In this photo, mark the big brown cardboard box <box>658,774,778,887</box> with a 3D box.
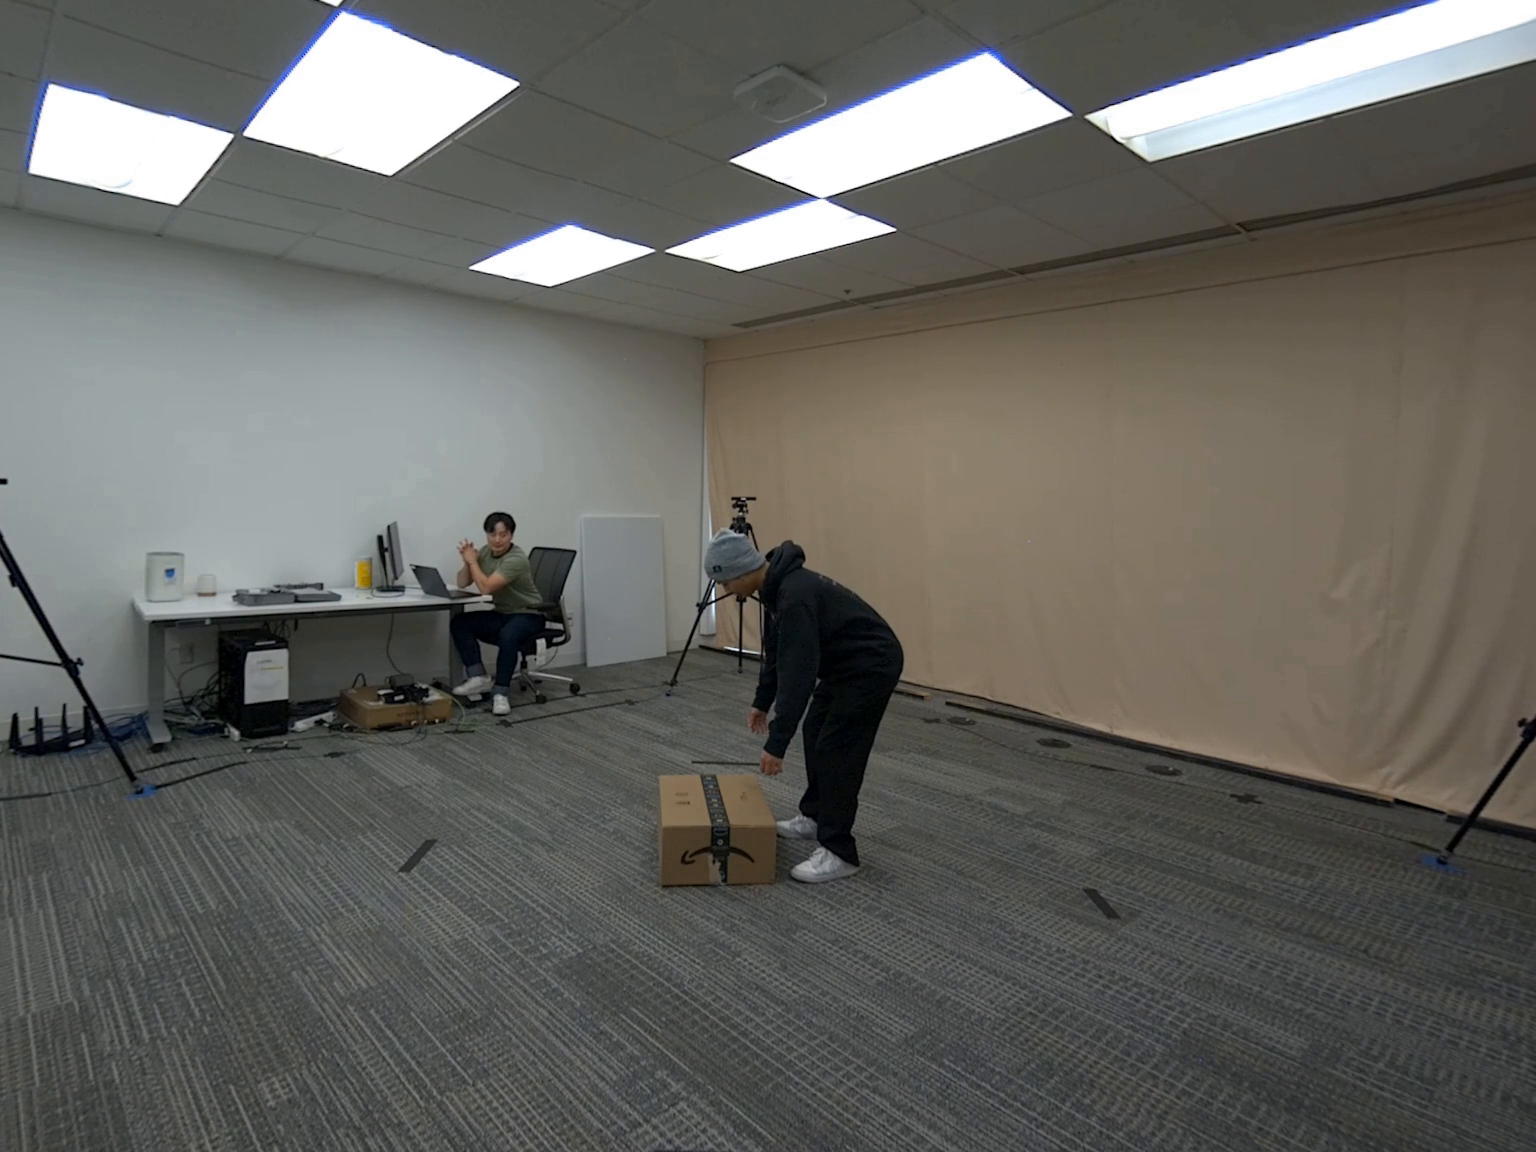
[{"bbox_3d":[-0.224,0.976,3.296,0.415,0.232,0.594,2,4,-8],"label":"big brown cardboard box"}]
